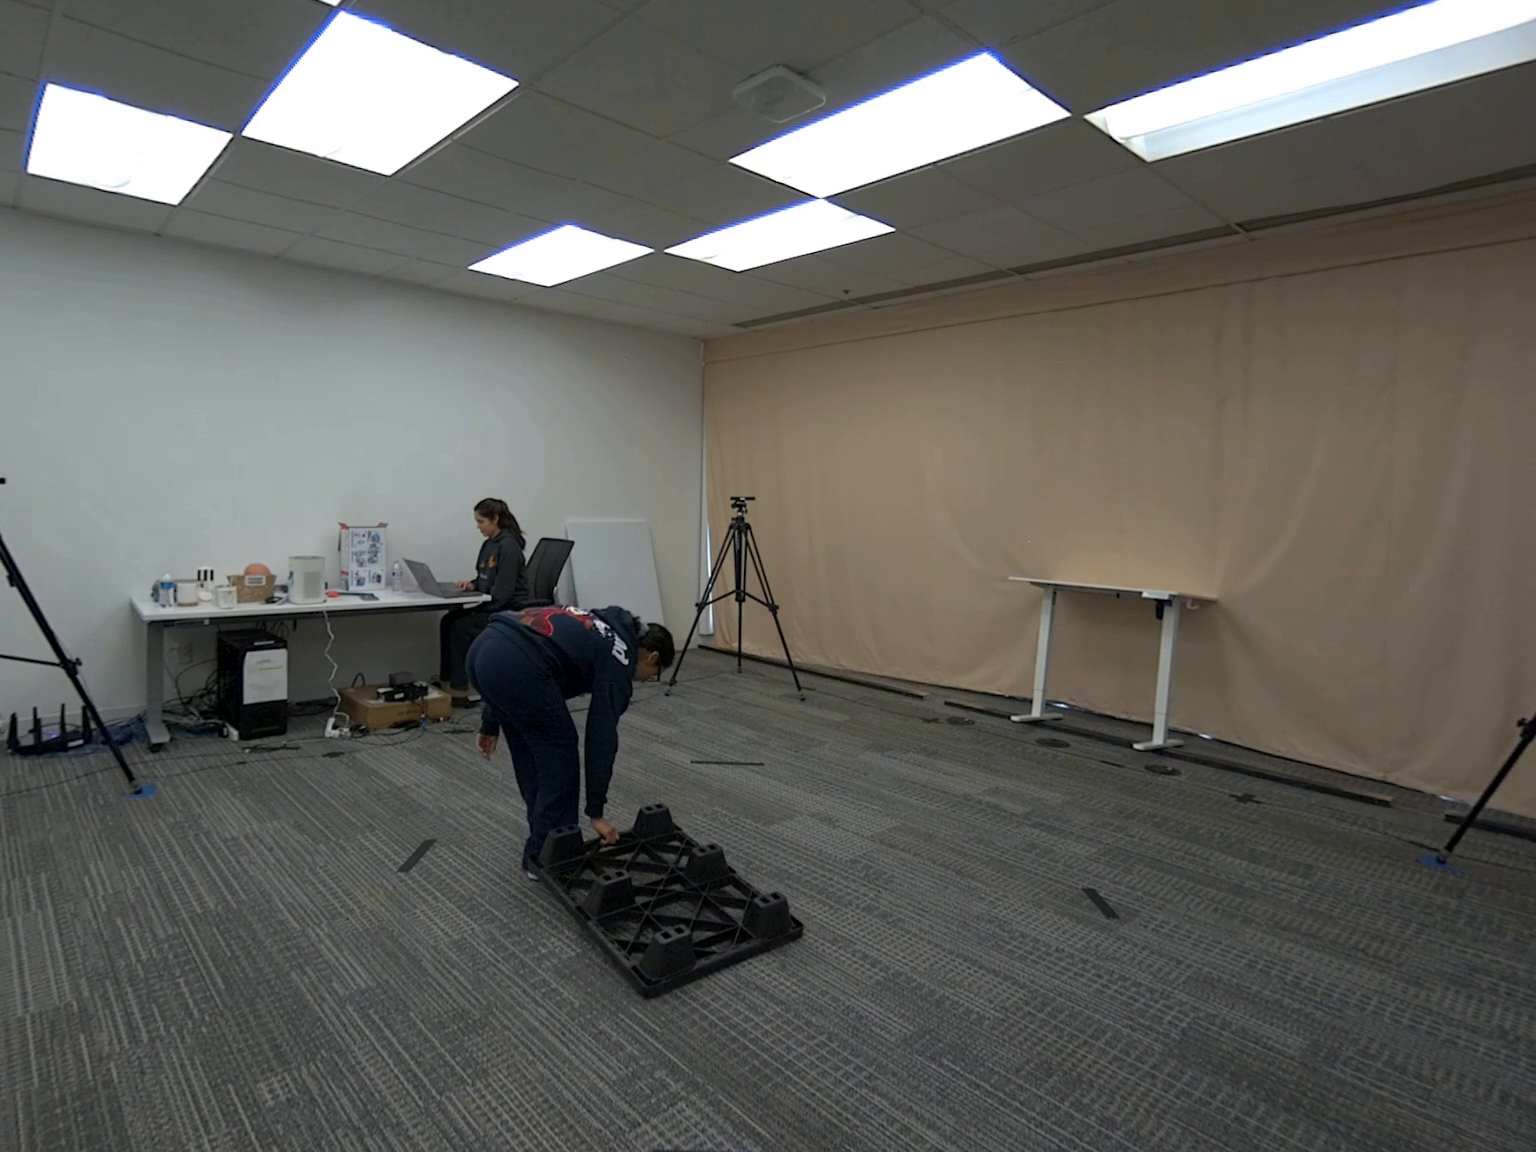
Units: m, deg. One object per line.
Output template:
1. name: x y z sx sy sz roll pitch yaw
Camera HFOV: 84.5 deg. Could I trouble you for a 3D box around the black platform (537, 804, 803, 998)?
1. black platform: -0.355 1.021 2.797 0.592 0.142 0.829 -4 14 -40
